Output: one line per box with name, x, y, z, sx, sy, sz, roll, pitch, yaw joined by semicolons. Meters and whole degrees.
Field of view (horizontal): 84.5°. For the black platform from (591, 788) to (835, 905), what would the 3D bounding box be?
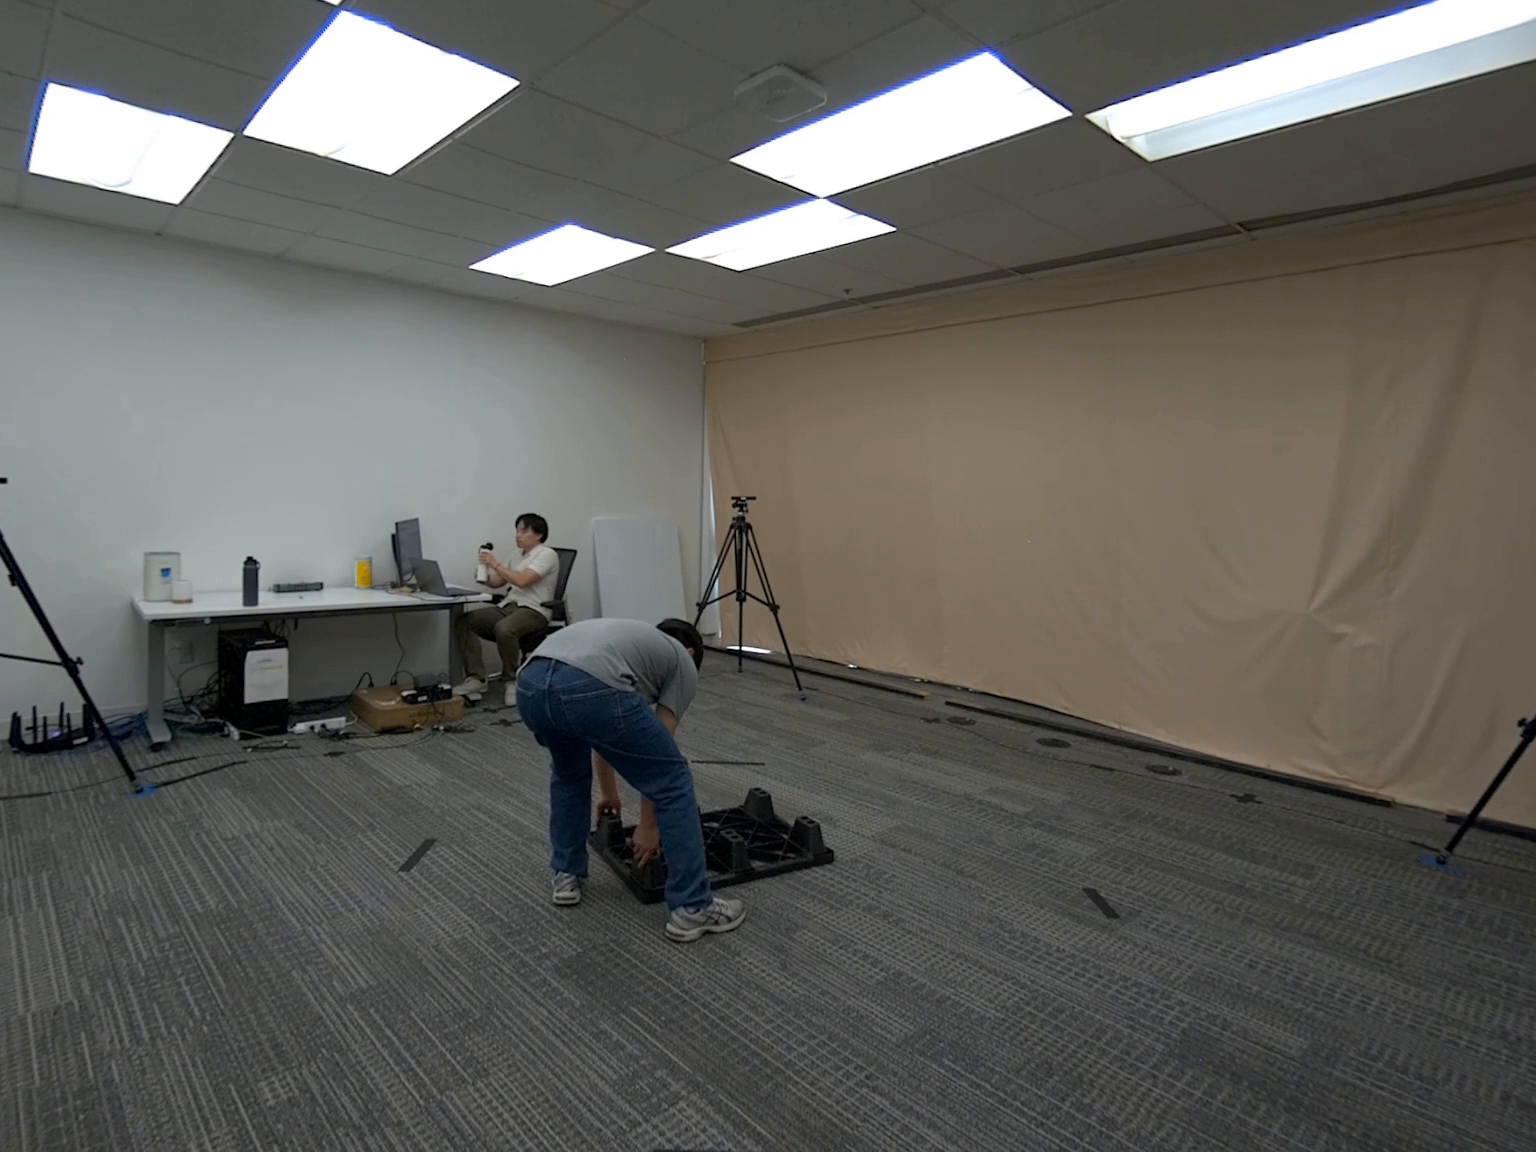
black platform;-0.239;1.020;3.299;0.789;0.143;0.619;-2;6;-31
